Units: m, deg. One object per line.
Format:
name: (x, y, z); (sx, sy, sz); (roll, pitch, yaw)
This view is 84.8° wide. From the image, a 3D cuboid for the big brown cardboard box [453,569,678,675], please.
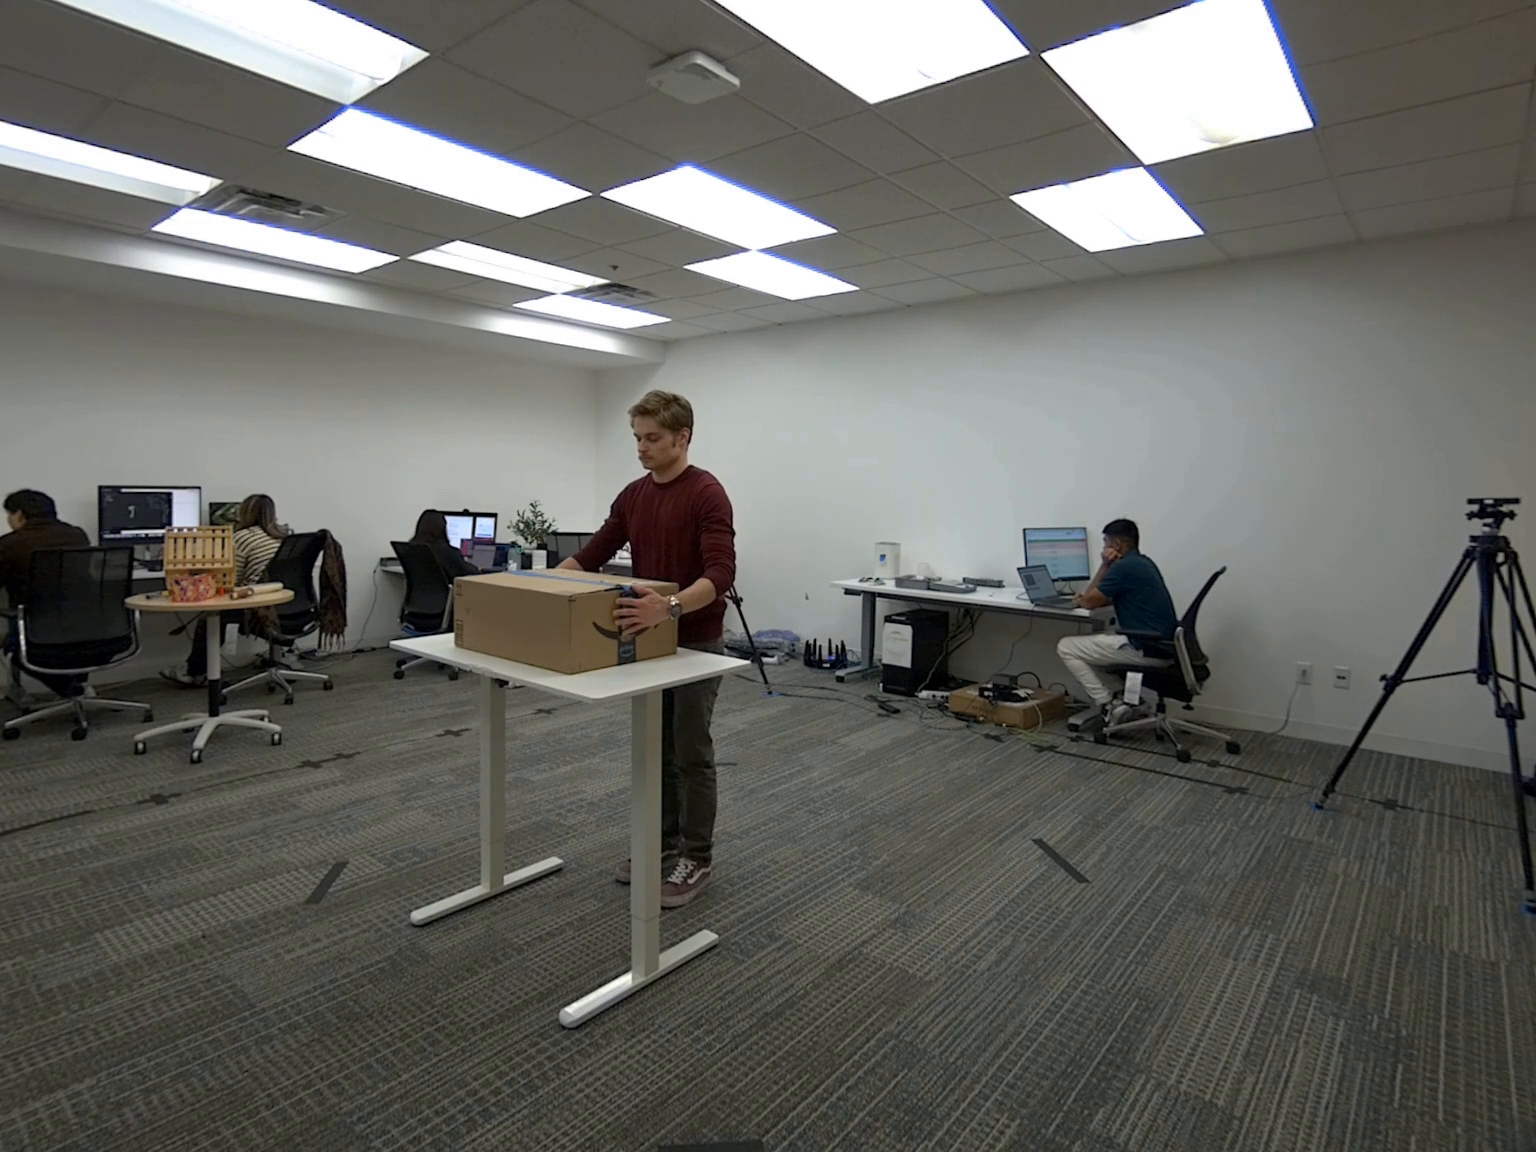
big brown cardboard box: (-0.633, 0.116, 2.600); (0.609, 0.232, 0.405); (5, 7, 40)
